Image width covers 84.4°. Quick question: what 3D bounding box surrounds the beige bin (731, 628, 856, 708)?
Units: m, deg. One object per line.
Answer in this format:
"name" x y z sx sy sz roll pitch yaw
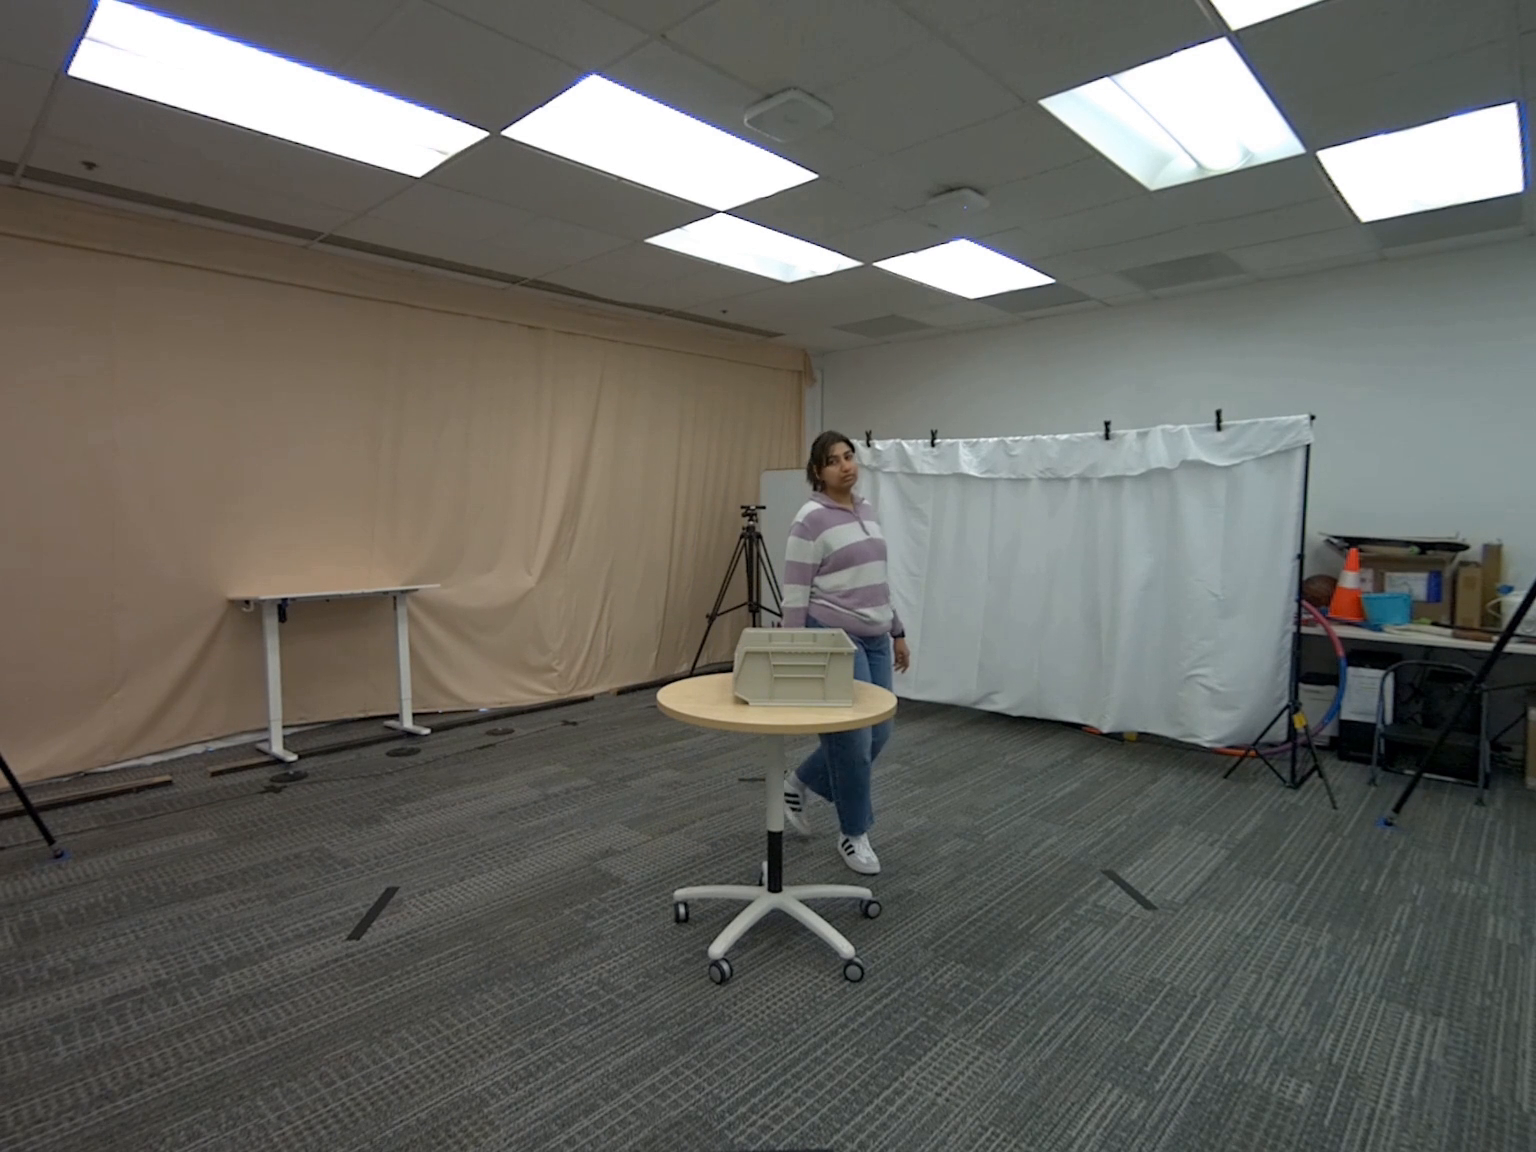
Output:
"beige bin" 0.072 0.288 2.748 0.378 0.189 0.422 1 3 0
